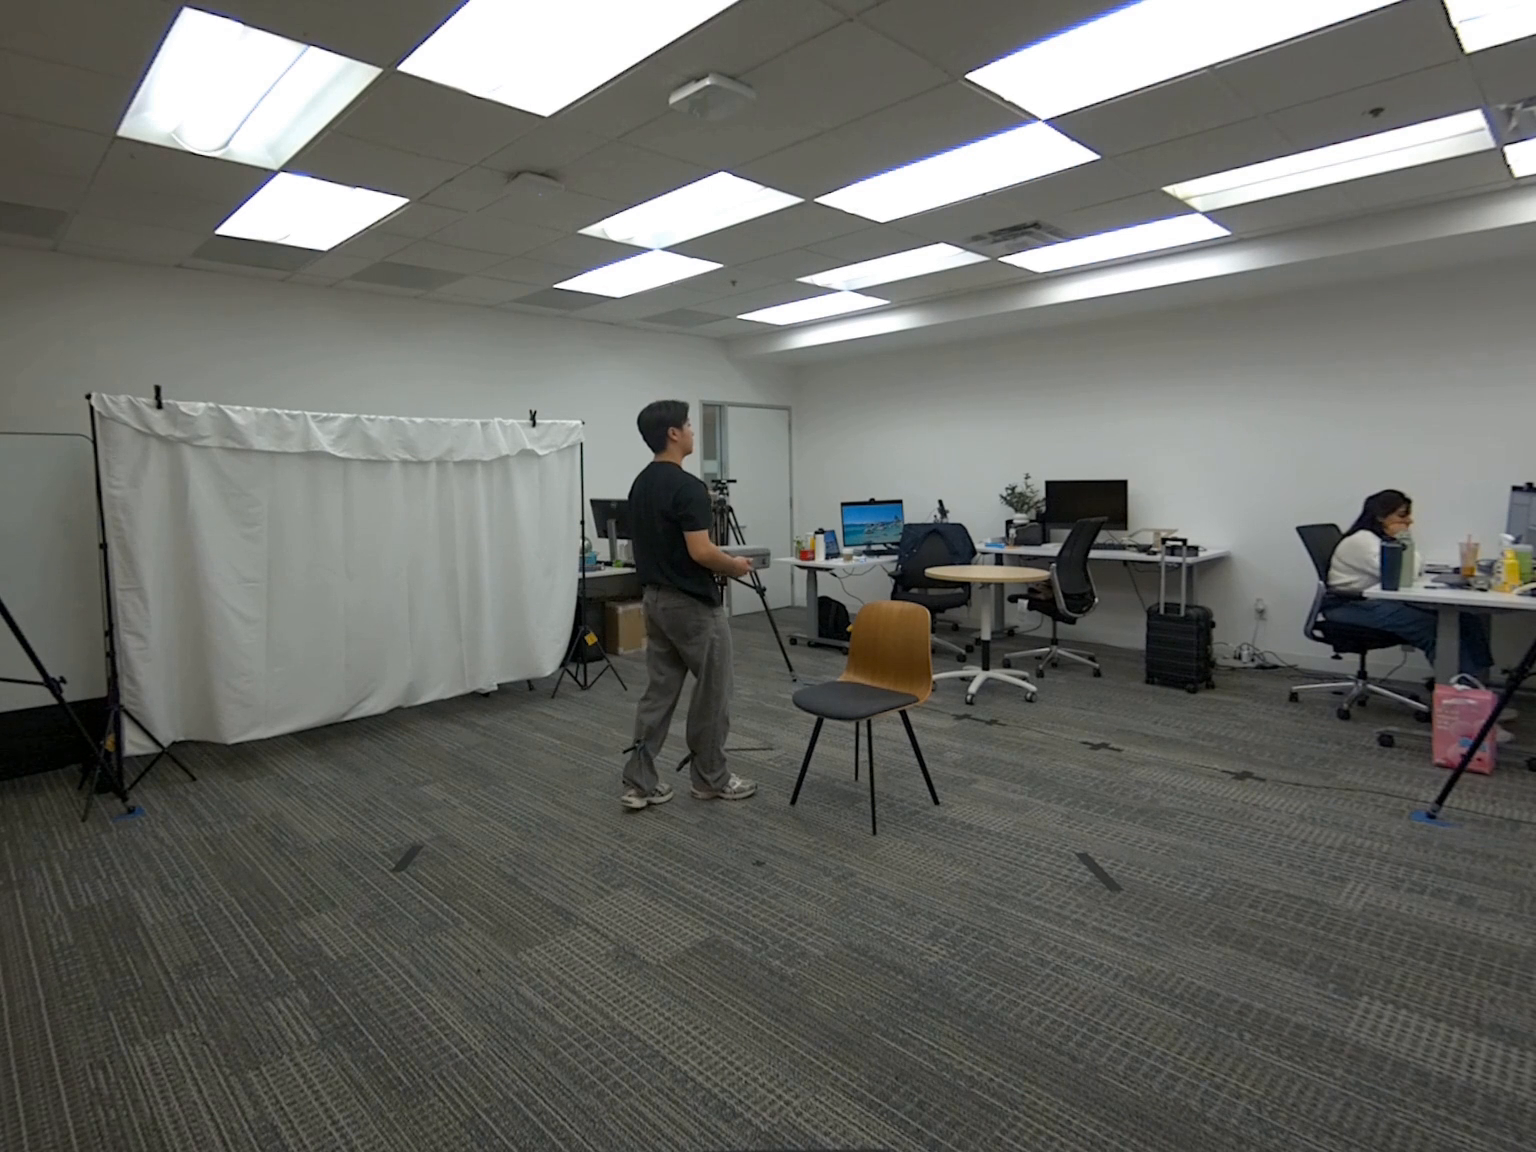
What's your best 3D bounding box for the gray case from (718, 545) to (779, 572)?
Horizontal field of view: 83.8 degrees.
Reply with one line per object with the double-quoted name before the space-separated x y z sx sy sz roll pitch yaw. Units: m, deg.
"gray case" -0.150 -0.079 3.885 0.279 0.103 0.271 -4 5 -39
